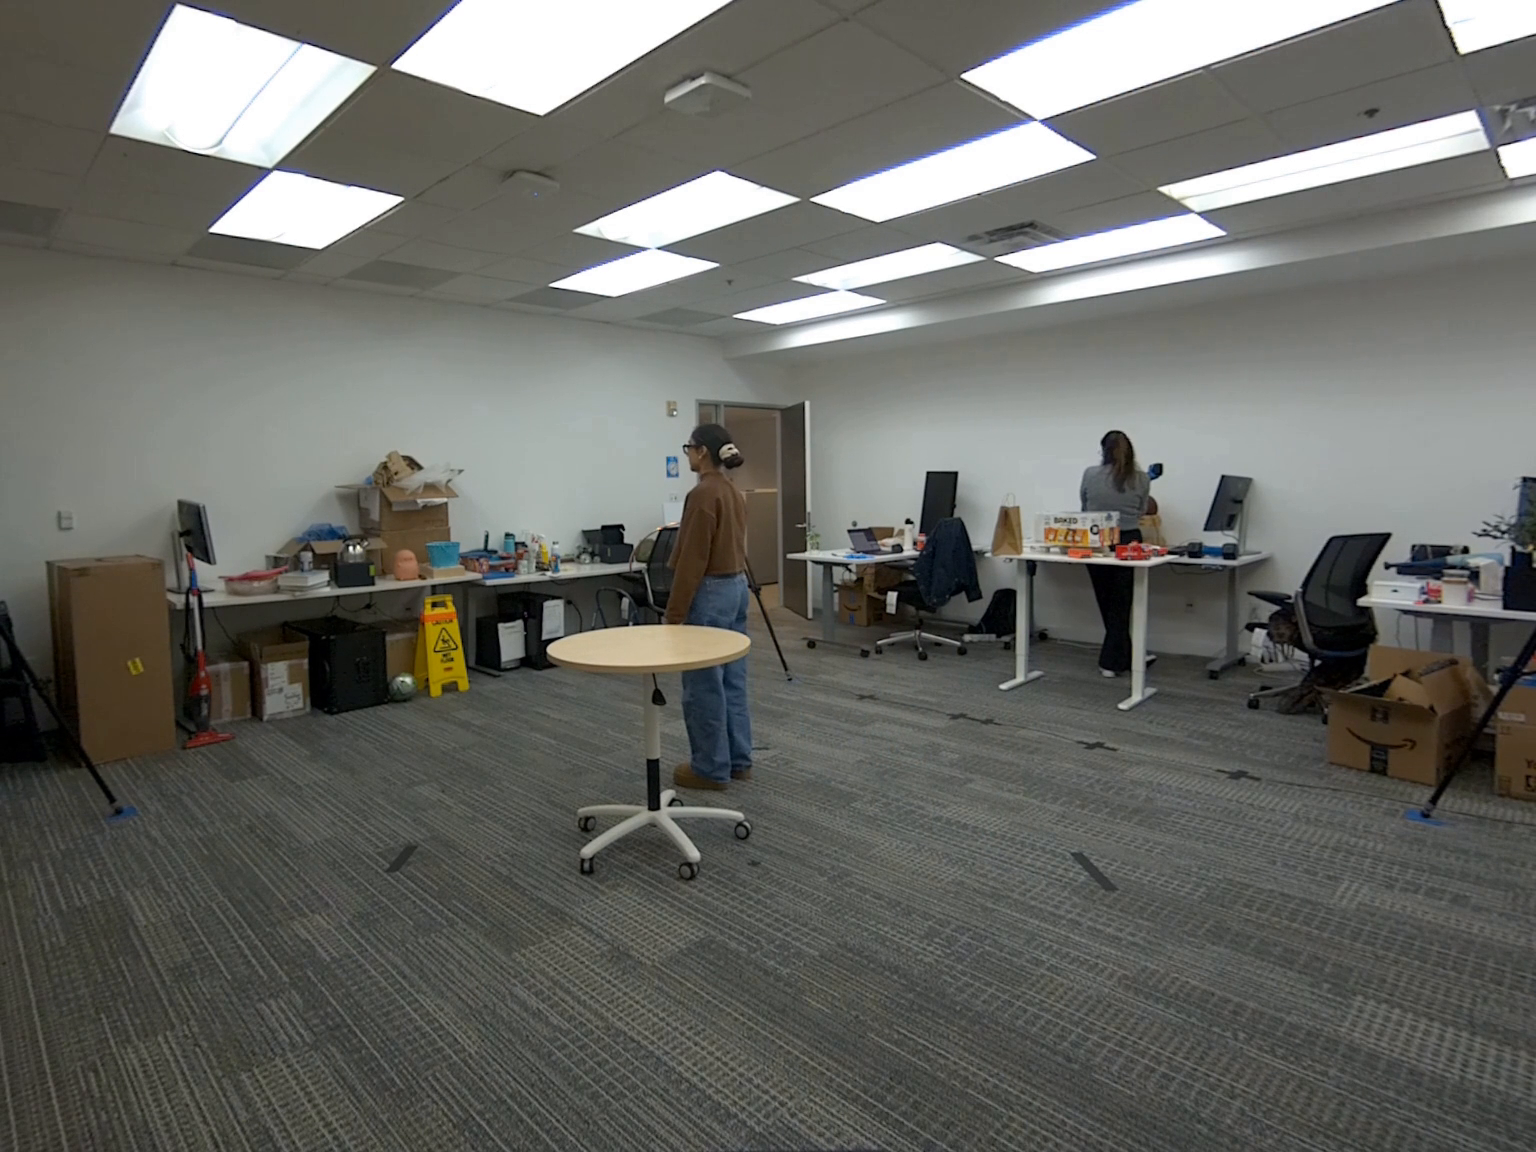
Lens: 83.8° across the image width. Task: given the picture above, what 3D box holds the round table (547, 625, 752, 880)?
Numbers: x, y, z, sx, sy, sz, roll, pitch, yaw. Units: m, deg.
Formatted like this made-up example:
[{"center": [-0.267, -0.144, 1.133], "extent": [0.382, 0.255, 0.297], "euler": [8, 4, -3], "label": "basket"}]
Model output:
[{"center": [-0.434, 0.642, 3.241], "extent": [0.784, 0.784, 0.789], "euler": [-2, 5, -2], "label": "round table"}]
